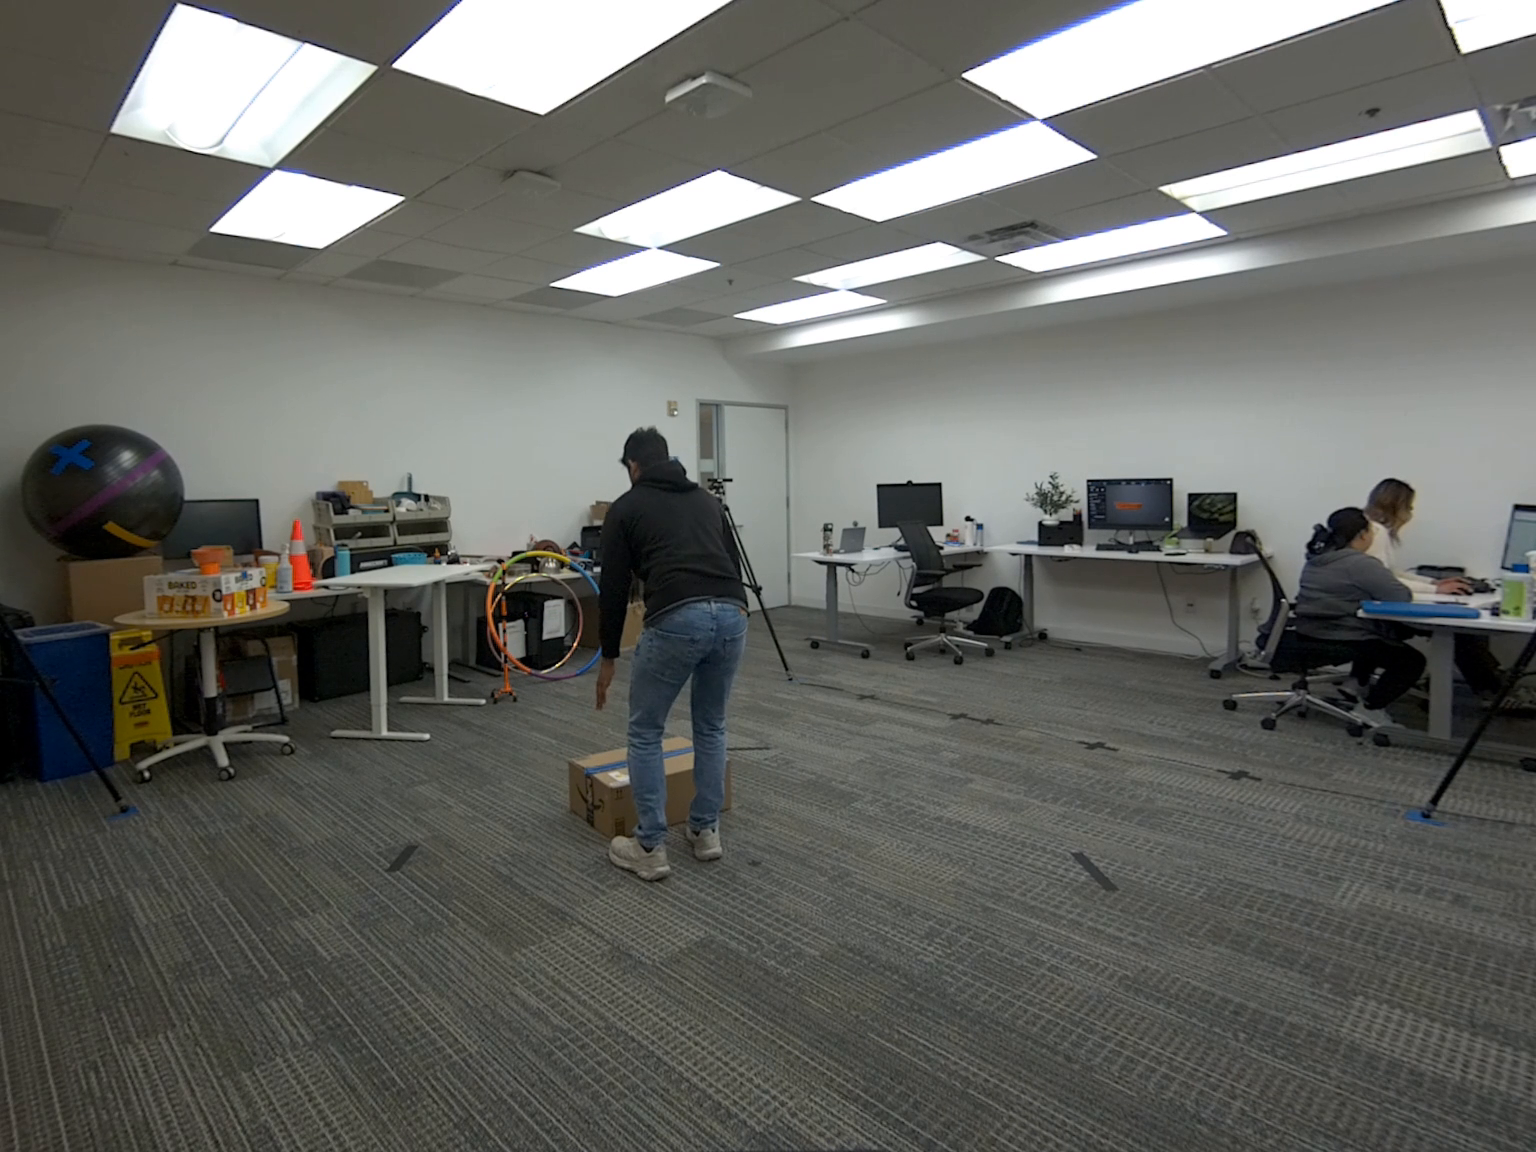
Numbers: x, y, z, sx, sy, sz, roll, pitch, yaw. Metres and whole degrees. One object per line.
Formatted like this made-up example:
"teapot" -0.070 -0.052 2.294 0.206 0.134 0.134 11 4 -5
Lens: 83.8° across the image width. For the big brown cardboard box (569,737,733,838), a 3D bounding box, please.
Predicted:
"big brown cardboard box" -0.504 0.879 3.624 0.574 0.232 0.430 -4 6 -35
